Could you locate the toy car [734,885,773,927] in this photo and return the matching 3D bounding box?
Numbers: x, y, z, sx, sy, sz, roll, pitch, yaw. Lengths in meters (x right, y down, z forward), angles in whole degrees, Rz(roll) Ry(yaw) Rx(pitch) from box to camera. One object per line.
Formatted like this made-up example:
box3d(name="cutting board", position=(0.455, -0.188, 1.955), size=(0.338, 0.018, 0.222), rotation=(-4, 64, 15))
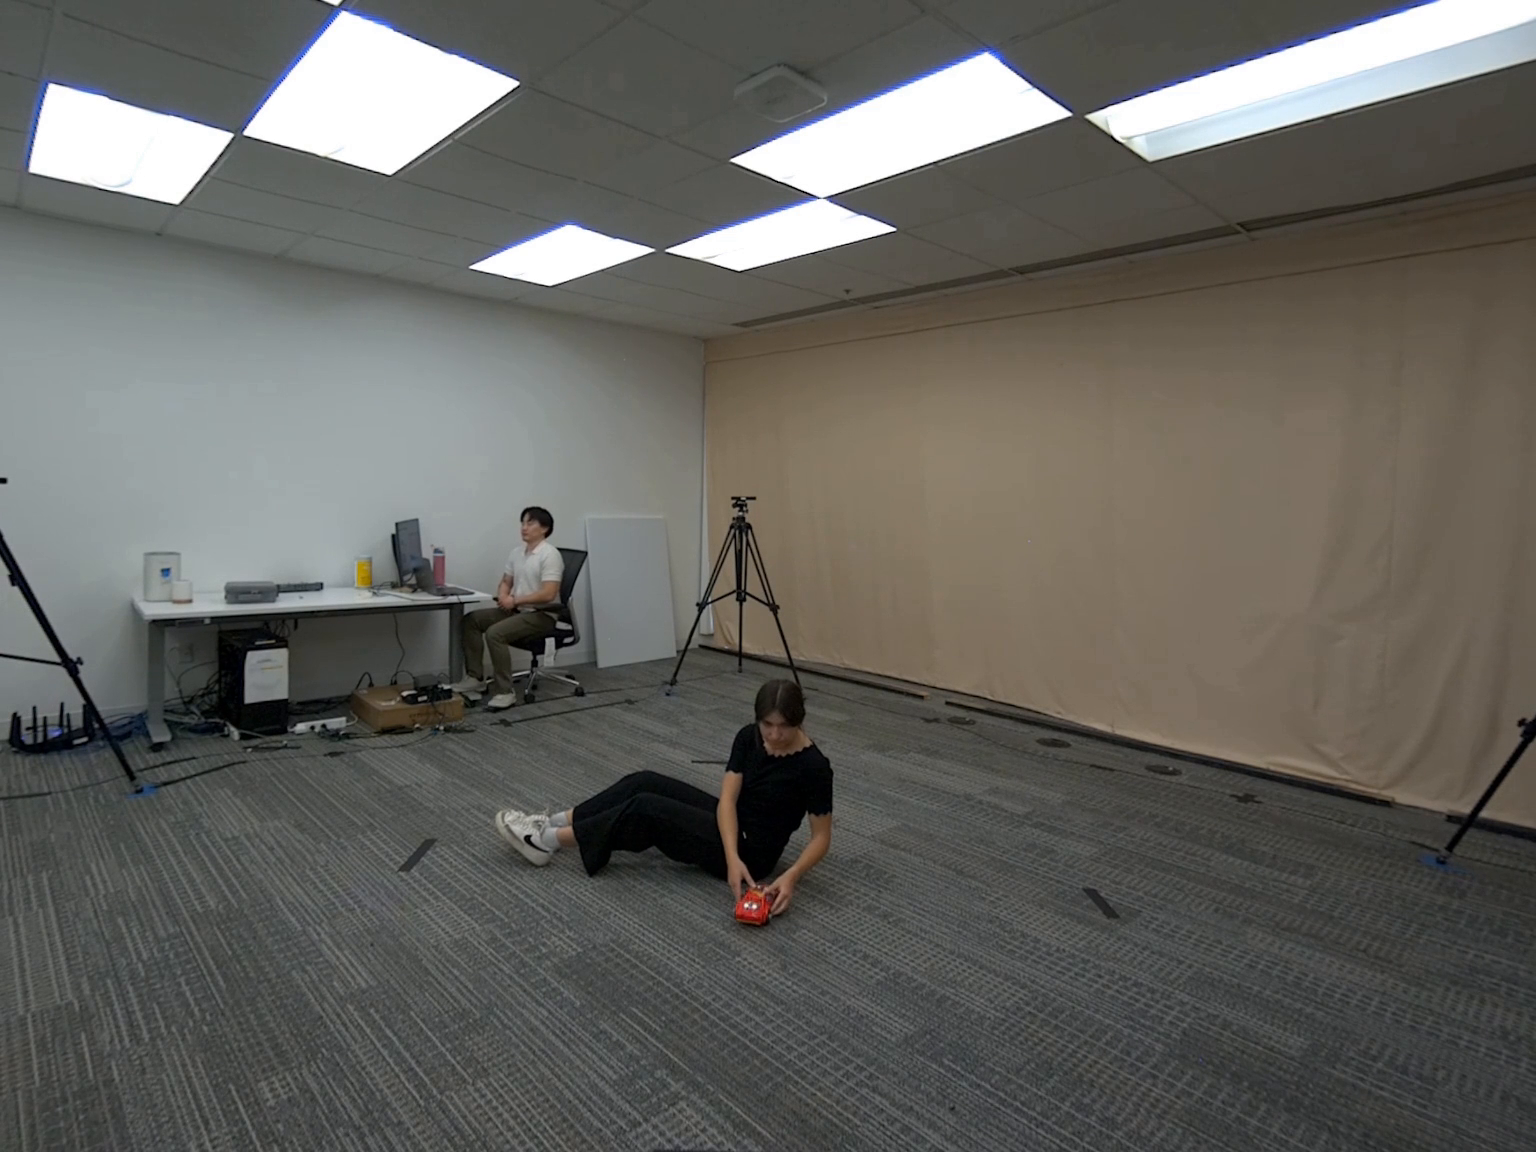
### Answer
box3d(name="toy car", position=(-0.050, 1.102, 2.812), size=(0.132, 0.083, 0.250), rotation=(1, -7, 14))
